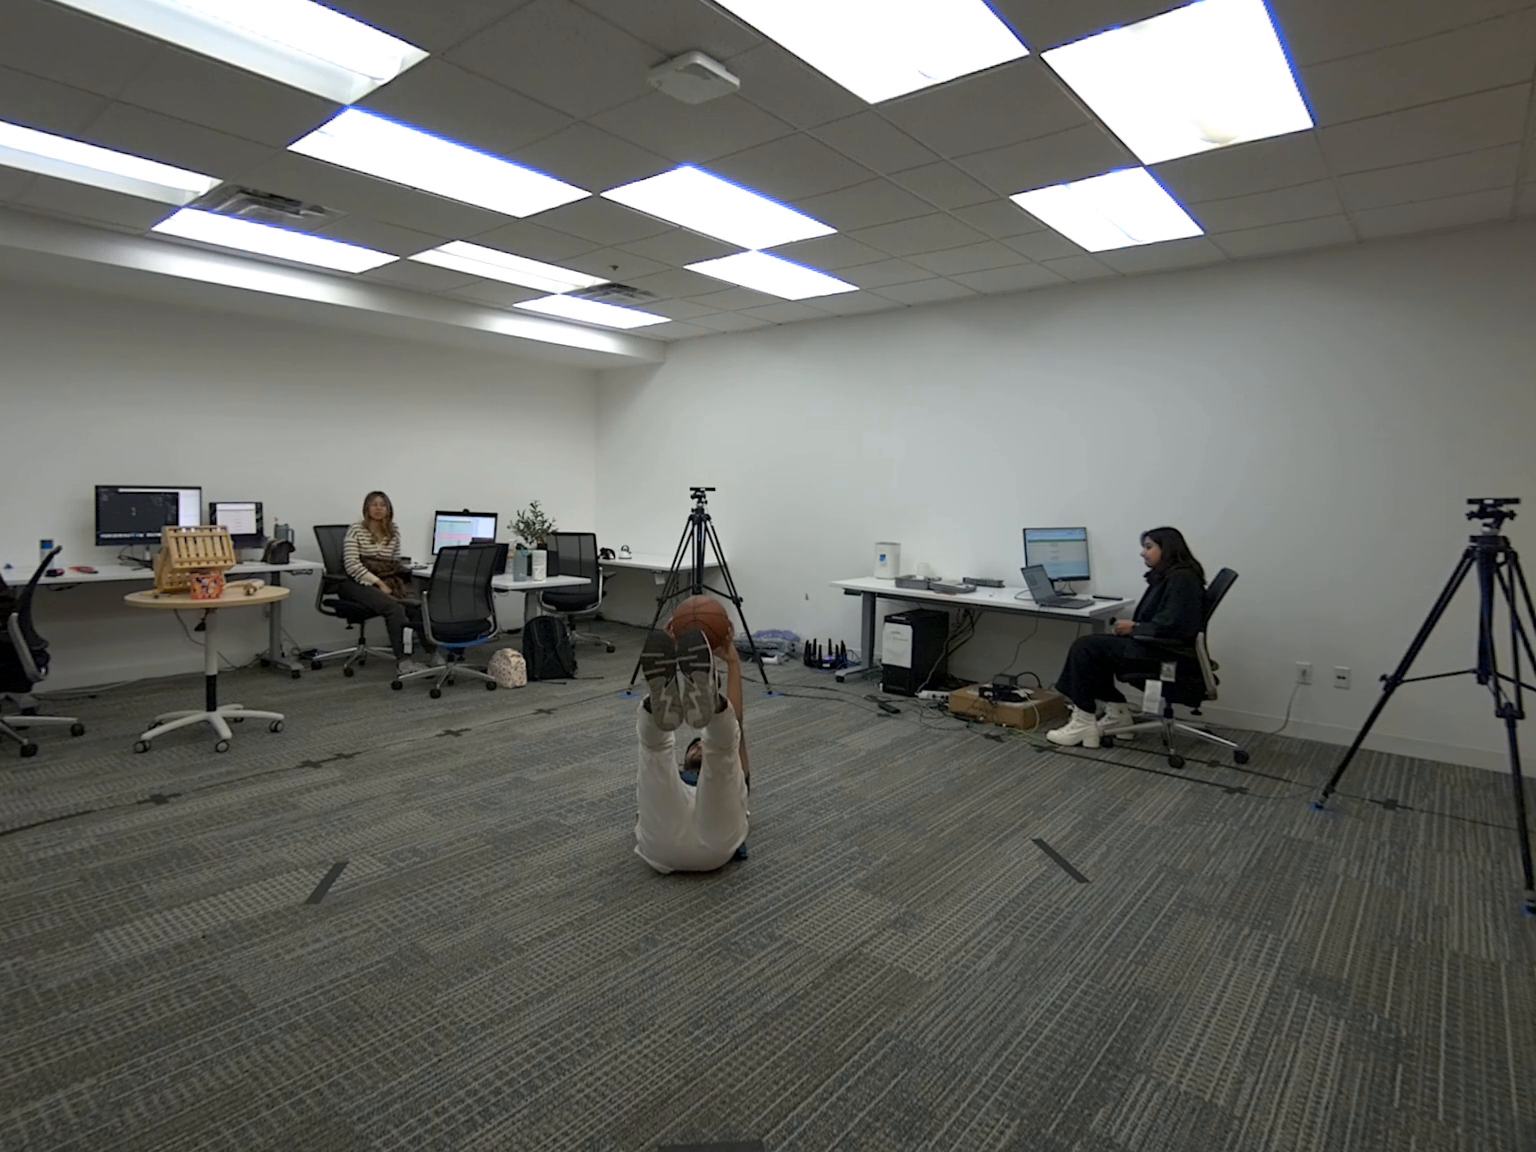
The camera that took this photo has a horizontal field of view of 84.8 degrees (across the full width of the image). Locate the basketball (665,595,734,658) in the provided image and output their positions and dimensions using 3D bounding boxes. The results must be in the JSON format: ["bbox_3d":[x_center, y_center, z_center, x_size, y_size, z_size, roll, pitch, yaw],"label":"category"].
[{"bbox_3d":[-0.300,0.201,3.543,0.235,0.235,0.237,1,4,-2],"label":"basketball"}]
